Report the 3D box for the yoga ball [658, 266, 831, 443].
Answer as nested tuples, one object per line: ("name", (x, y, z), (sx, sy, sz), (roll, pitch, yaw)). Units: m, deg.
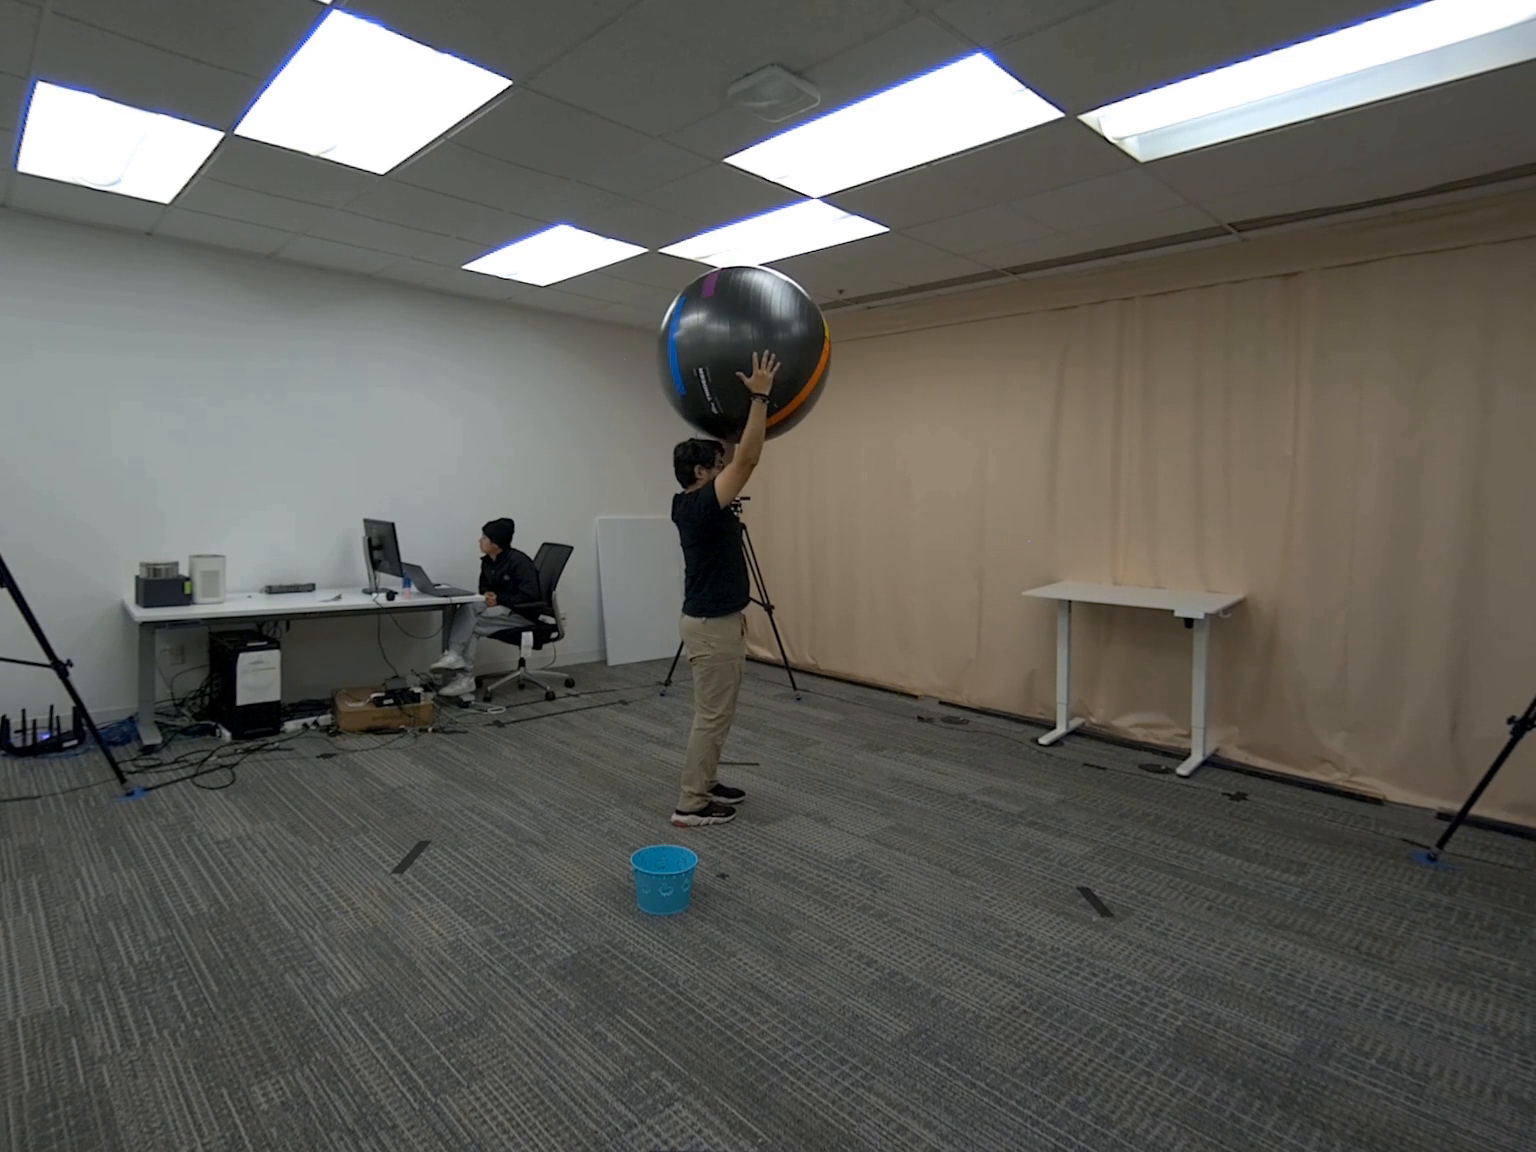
("yoga ball", (-0.110, -0.950, 3.659), (0.757, 0.756, 0.761), (1, 4, -1))
